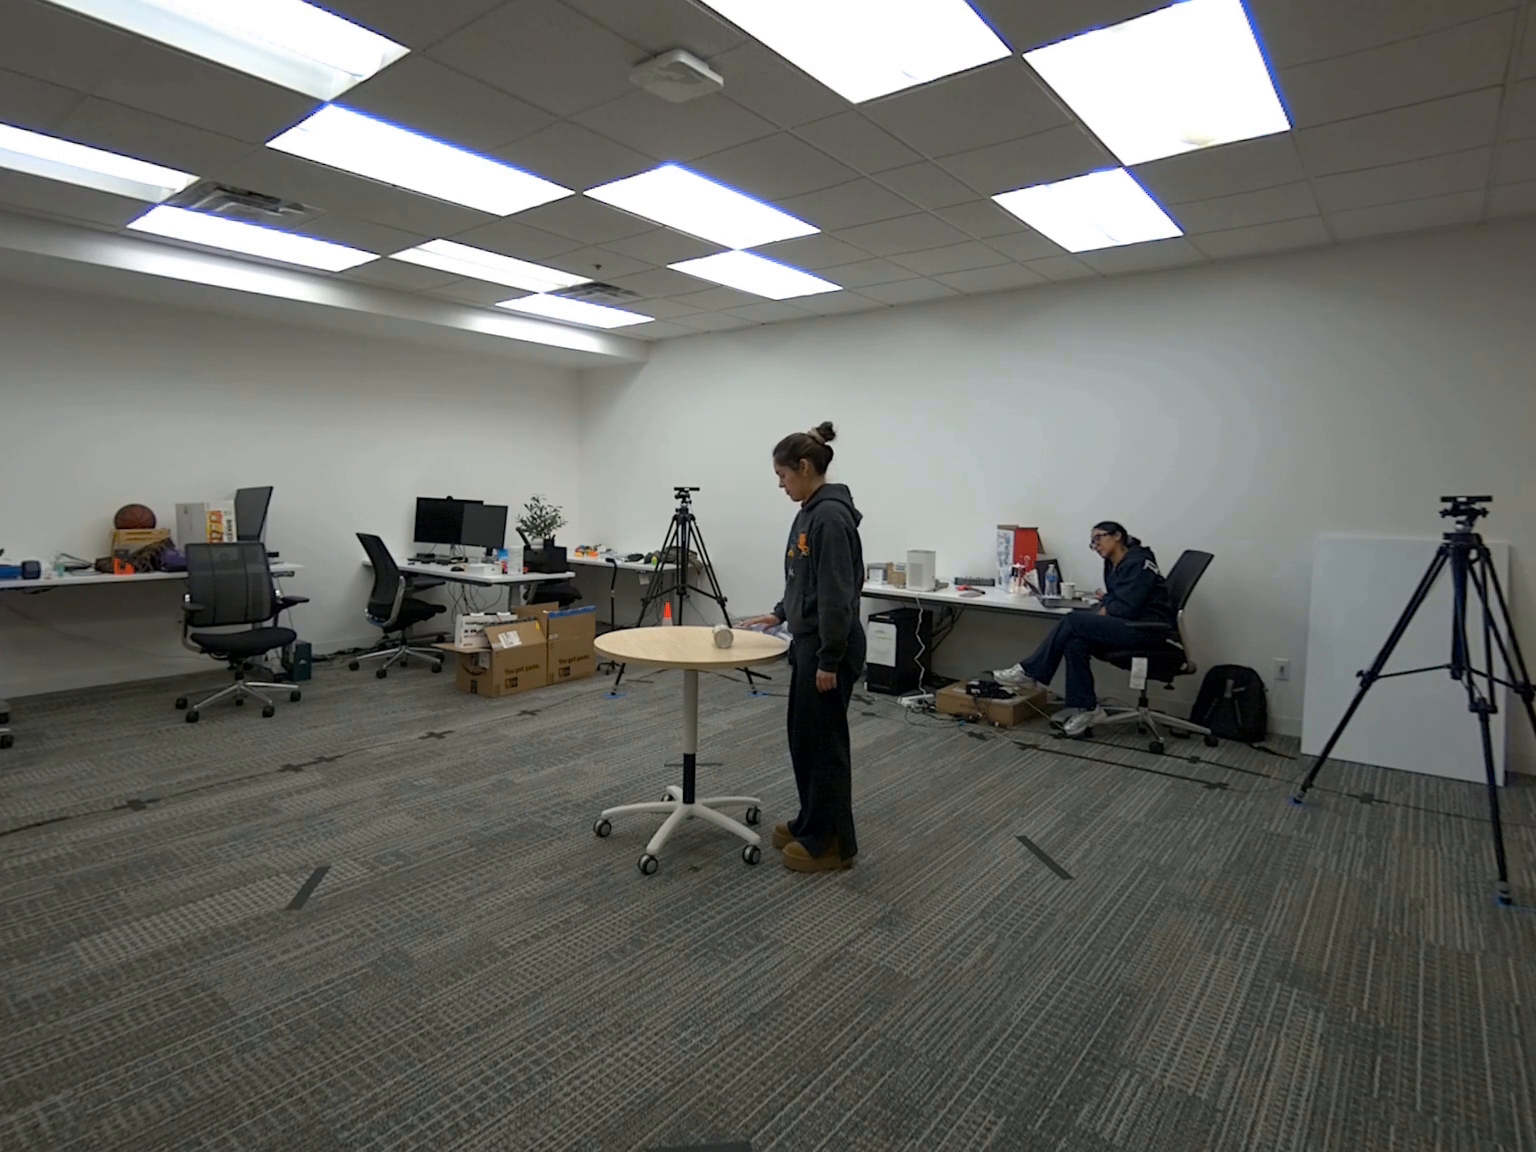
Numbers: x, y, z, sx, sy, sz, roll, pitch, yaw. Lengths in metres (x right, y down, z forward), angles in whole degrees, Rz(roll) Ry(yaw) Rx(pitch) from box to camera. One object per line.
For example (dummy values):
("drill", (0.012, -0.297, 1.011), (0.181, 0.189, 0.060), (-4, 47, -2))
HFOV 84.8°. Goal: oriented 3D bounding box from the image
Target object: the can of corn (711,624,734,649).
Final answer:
("can of corn", (-0.181, 0.228, 3.303), (0.074, 0.074, 0.112), (0, 7, -5))
